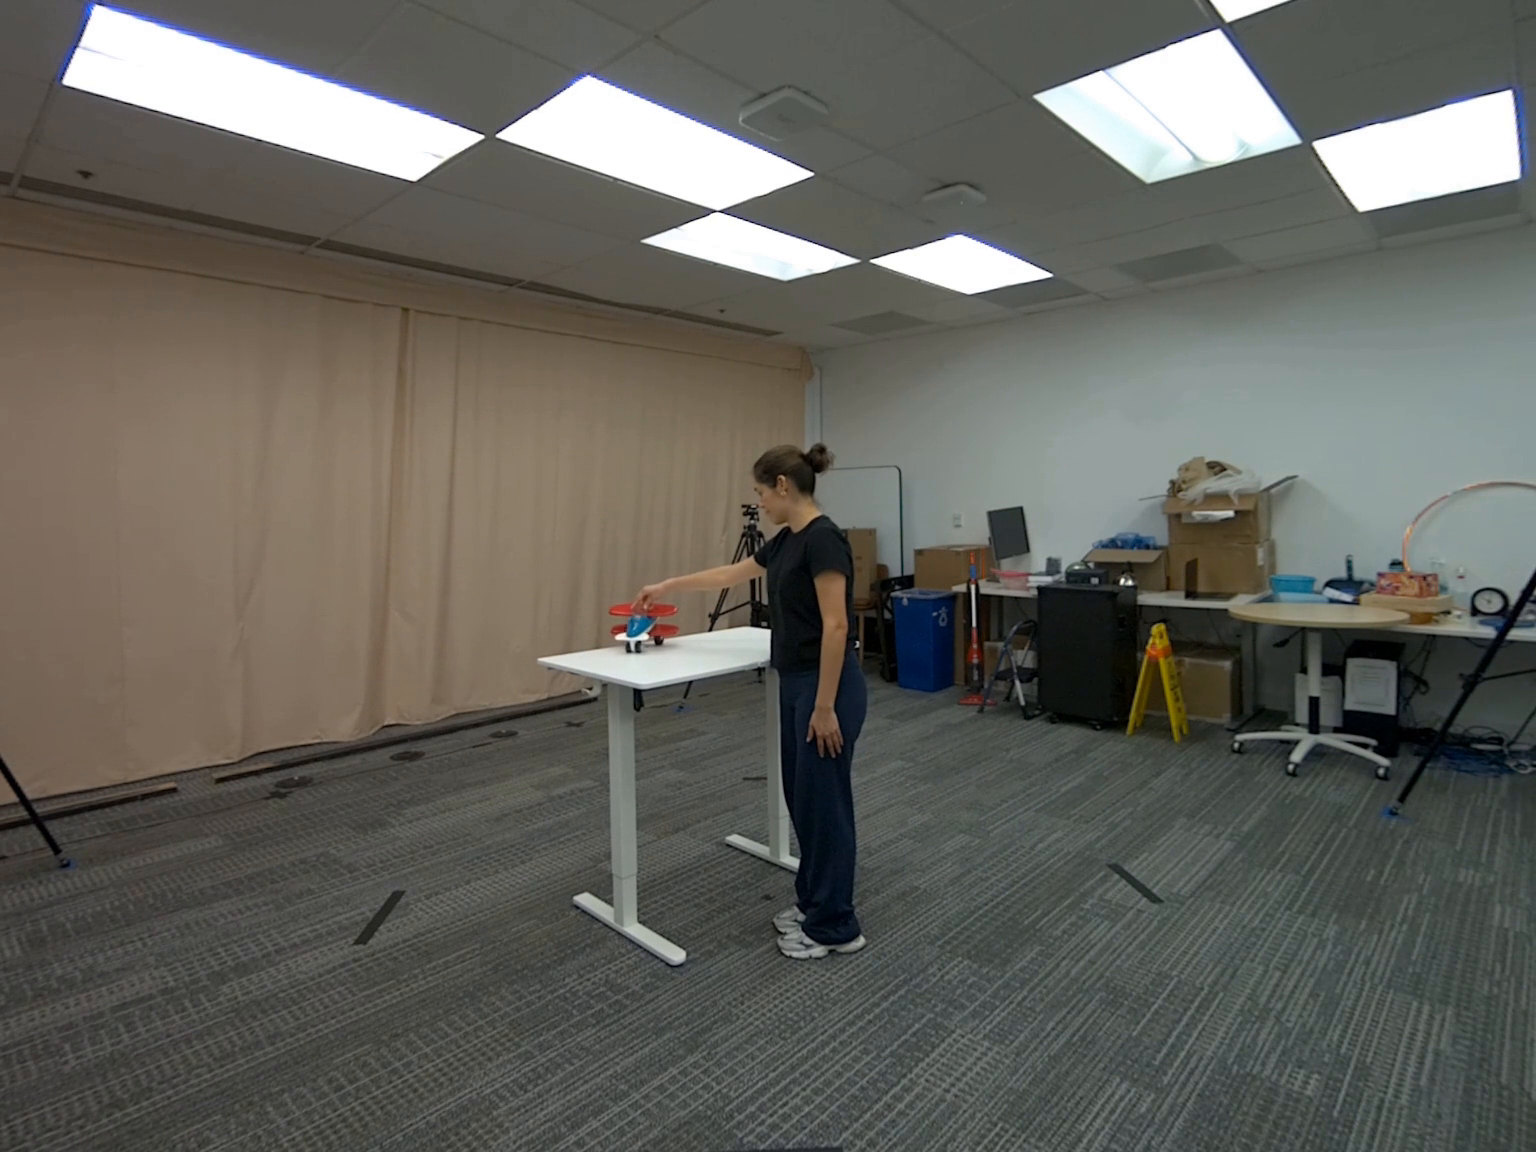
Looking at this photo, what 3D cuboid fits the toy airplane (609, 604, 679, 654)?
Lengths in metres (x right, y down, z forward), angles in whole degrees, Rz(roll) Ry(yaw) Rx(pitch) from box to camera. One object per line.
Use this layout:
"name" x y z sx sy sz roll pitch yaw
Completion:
"toy airplane" -0.420 0.183 3.035 0.246 0.156 0.264 -1 4 -18
